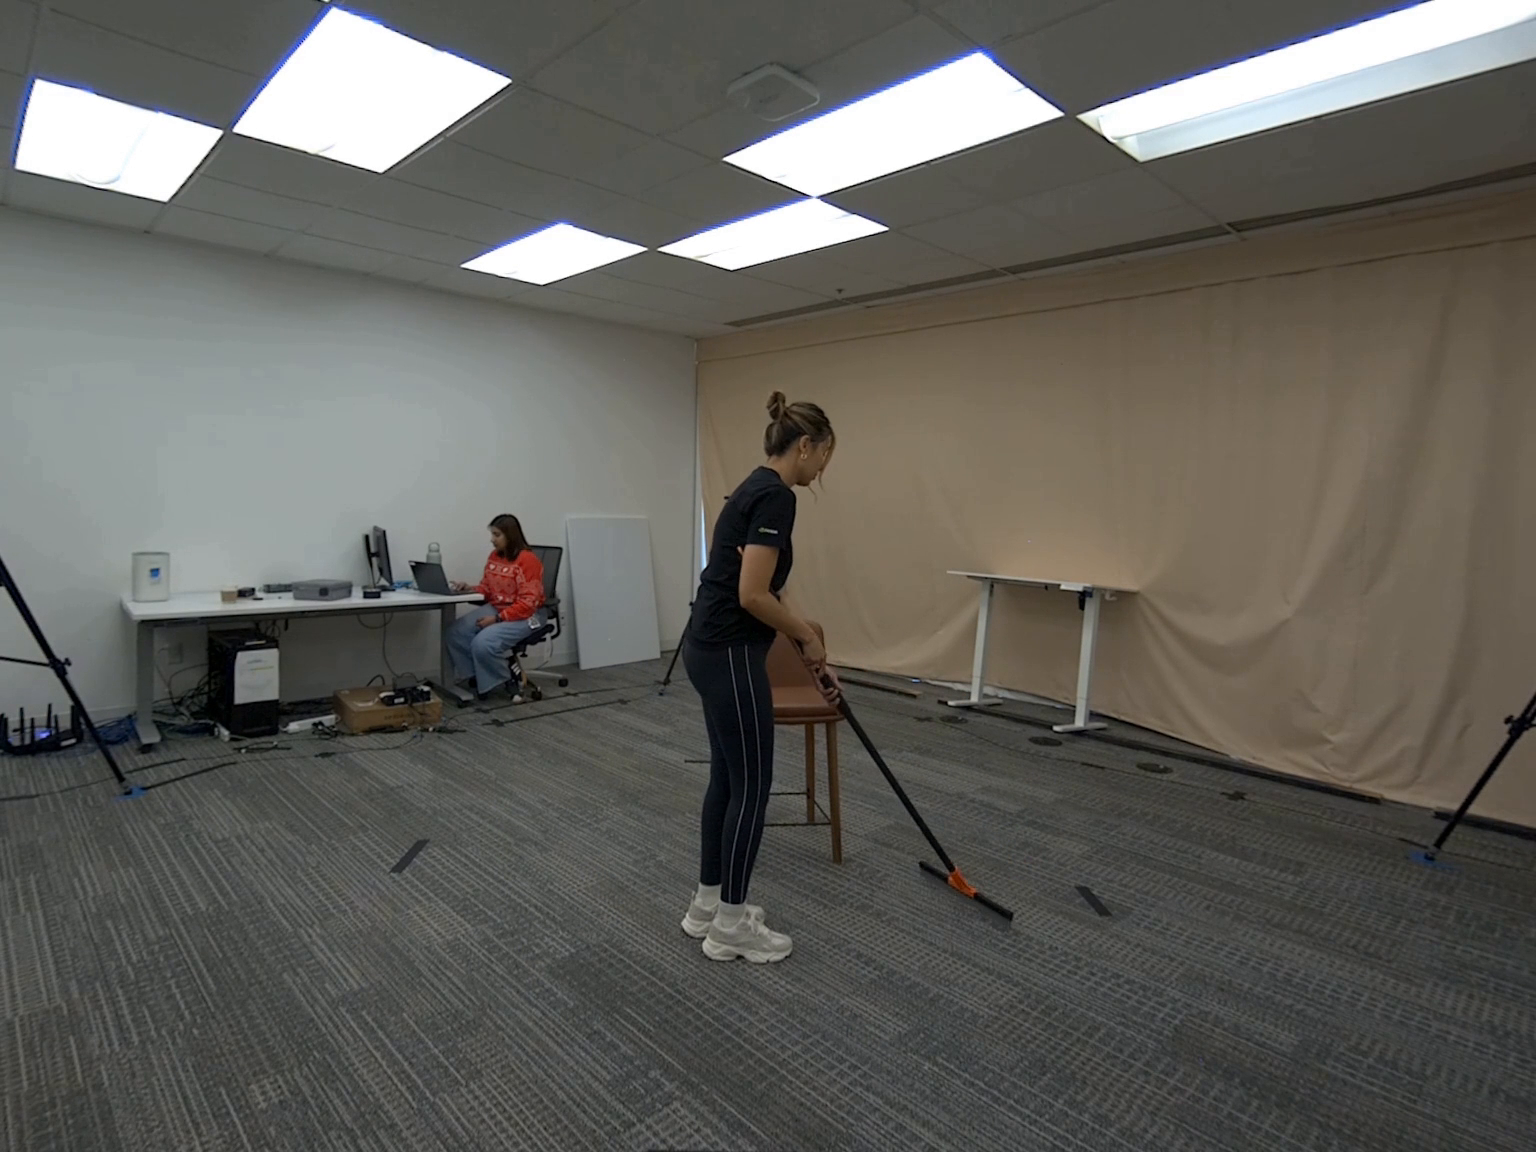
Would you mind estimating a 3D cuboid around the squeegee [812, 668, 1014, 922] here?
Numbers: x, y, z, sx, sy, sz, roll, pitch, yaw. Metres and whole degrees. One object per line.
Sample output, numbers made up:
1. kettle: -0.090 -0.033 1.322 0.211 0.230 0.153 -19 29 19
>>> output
1. squeegee: 0.301 0.517 2.685 0.053 1.506 0.447 -42 22 -20
